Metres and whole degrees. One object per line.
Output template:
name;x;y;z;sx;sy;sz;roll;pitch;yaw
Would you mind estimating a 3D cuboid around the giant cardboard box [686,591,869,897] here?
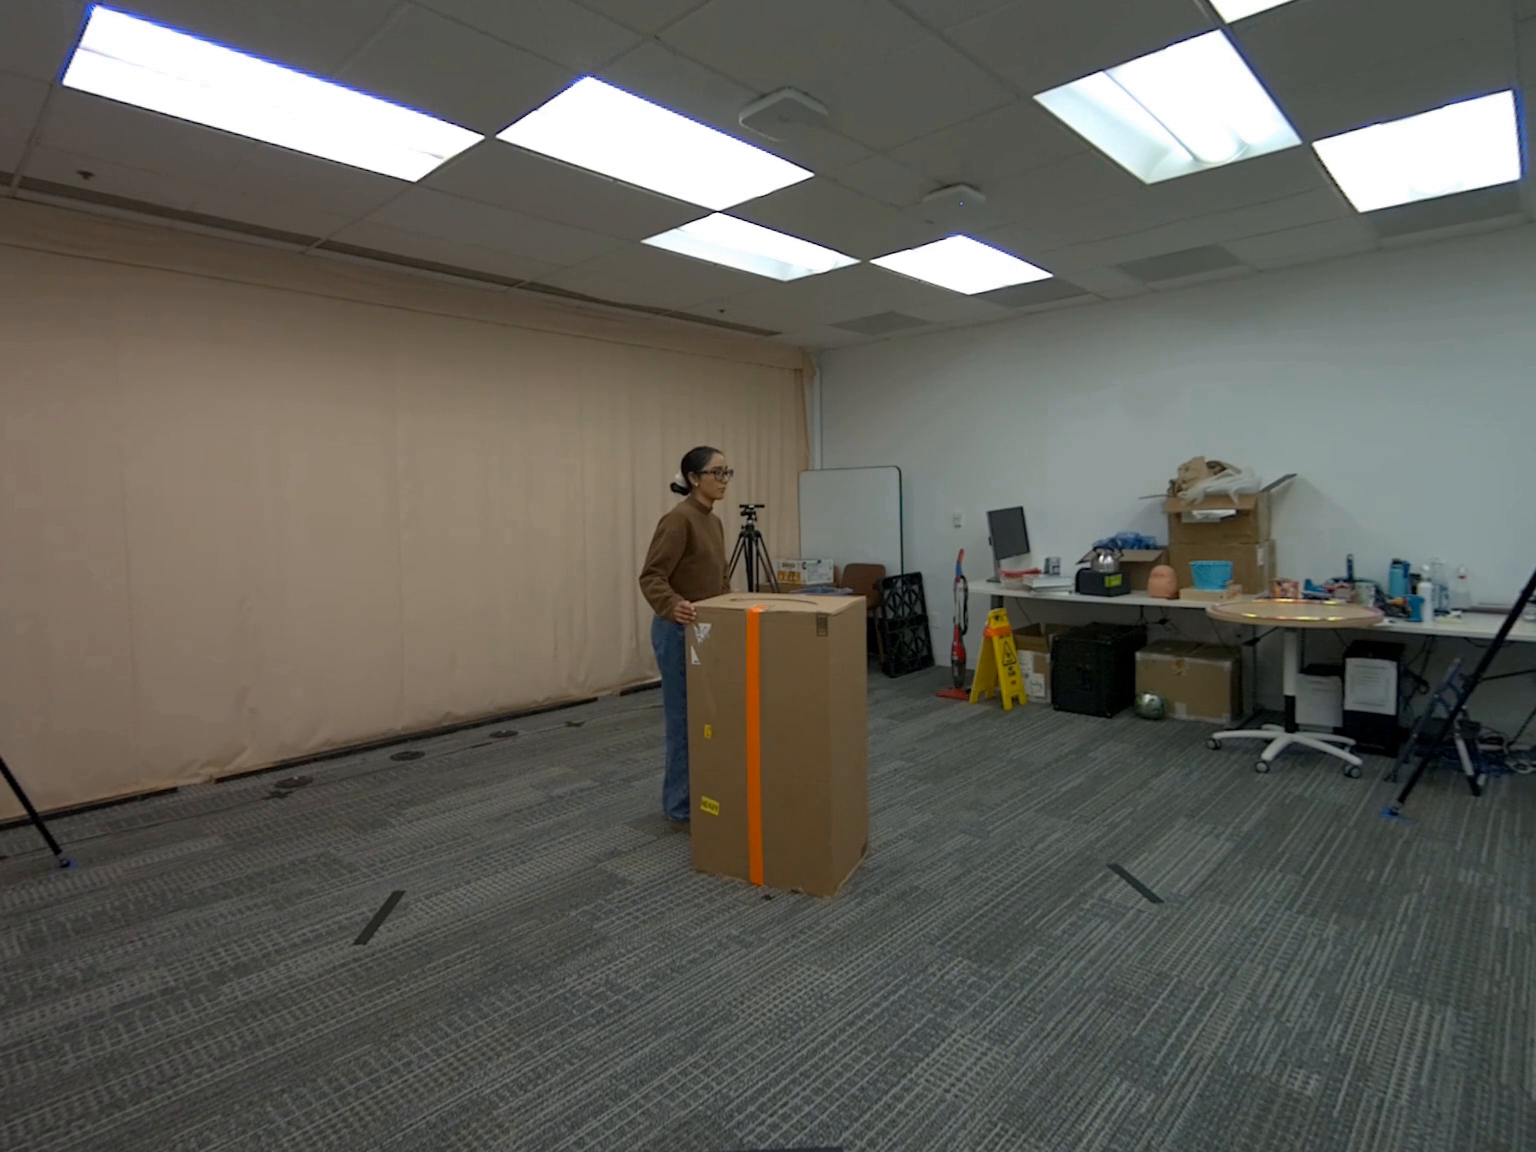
giant cardboard box;0.051;0.606;3.234;0.593;1.023;0.416;1;5;27
